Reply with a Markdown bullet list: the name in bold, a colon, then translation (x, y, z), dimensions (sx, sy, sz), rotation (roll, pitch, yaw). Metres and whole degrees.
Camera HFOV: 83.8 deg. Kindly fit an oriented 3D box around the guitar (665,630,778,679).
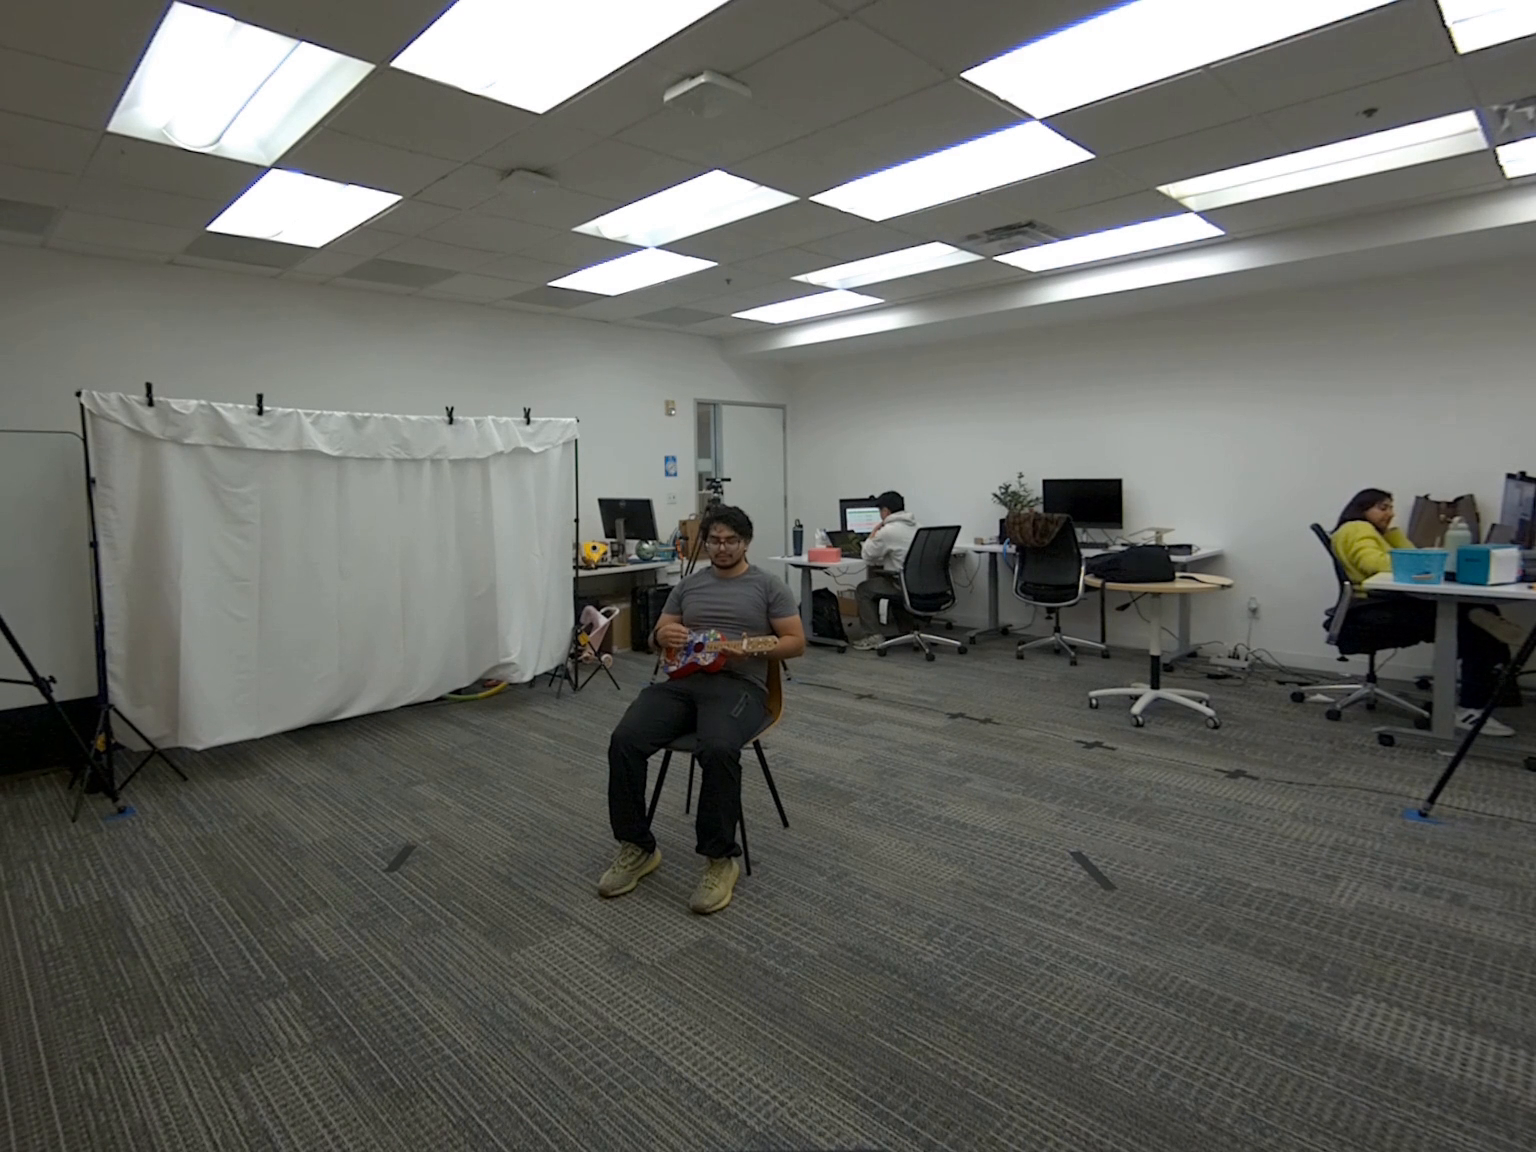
- **guitar**: translation (-0.193, 0.295, 3.122), dimensions (0.512, 0.195, 0.068), rotation (4, -30, 33)
